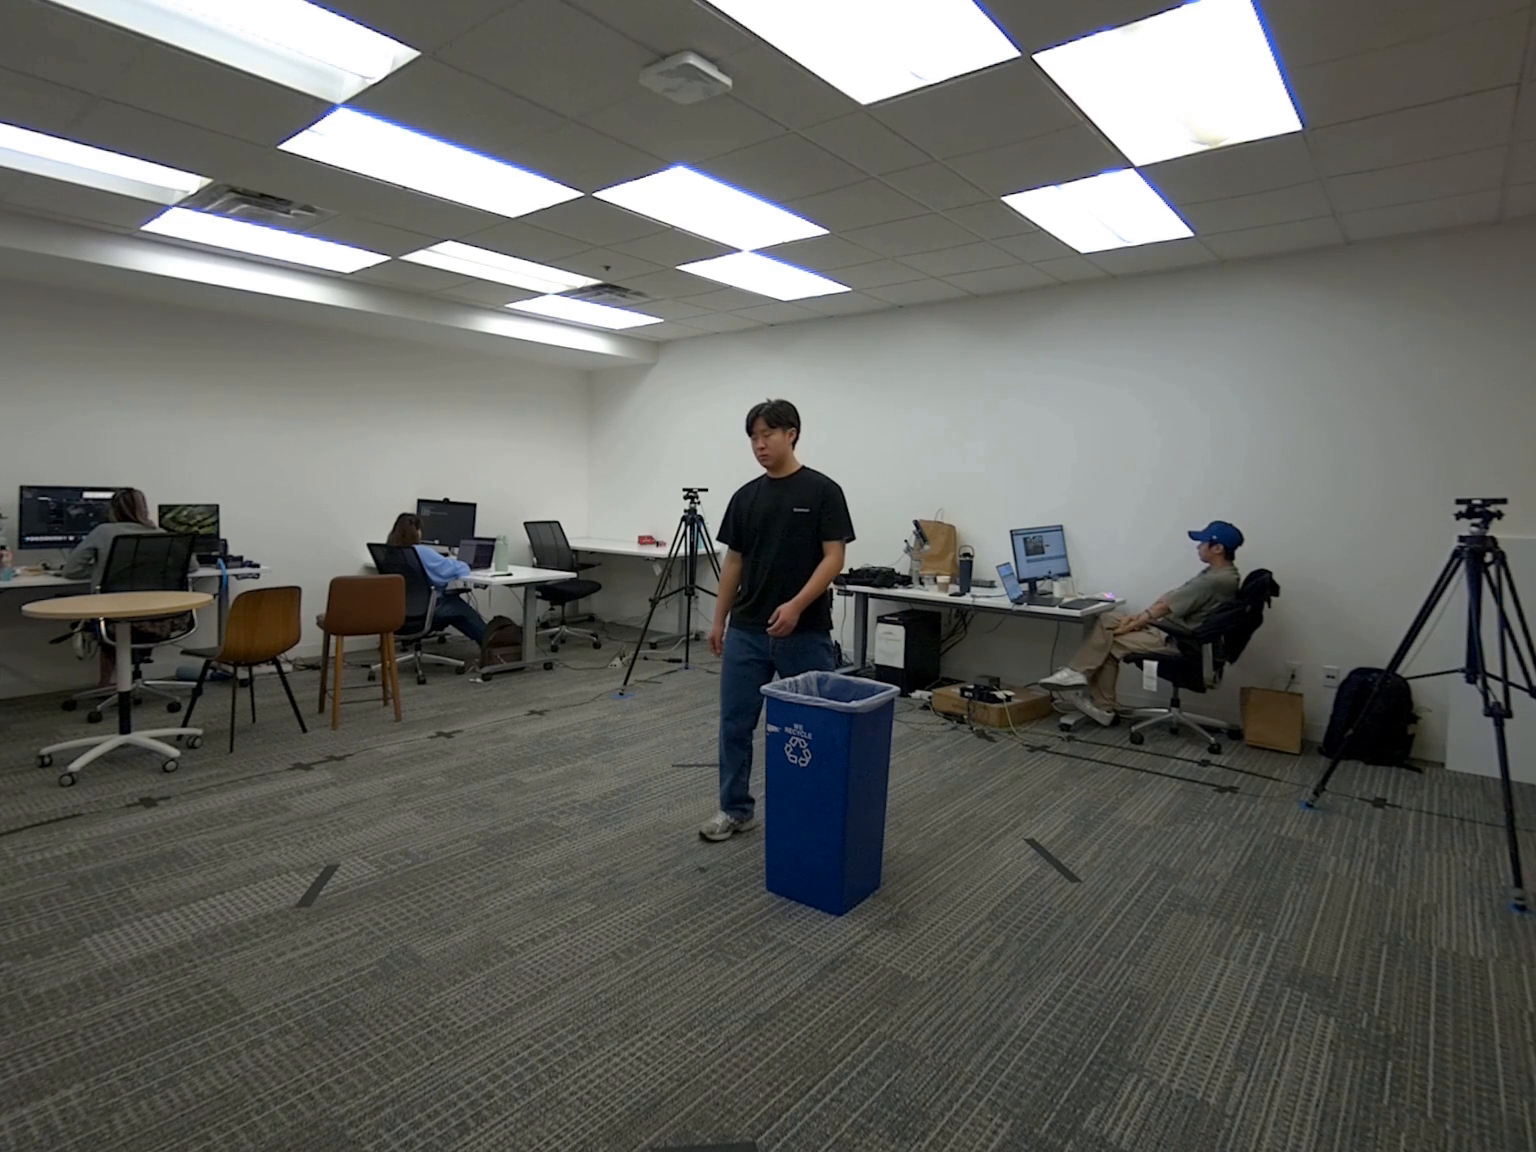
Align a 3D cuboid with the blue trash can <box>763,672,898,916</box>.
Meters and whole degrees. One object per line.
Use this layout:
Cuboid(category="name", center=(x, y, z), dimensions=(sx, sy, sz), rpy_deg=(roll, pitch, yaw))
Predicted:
Cuboid(category="blue trash can", center=(0.208, 0.731, 2.970), dimensions=(0.386, 0.711, 0.367), rpy_deg=(3, 4, 35))
